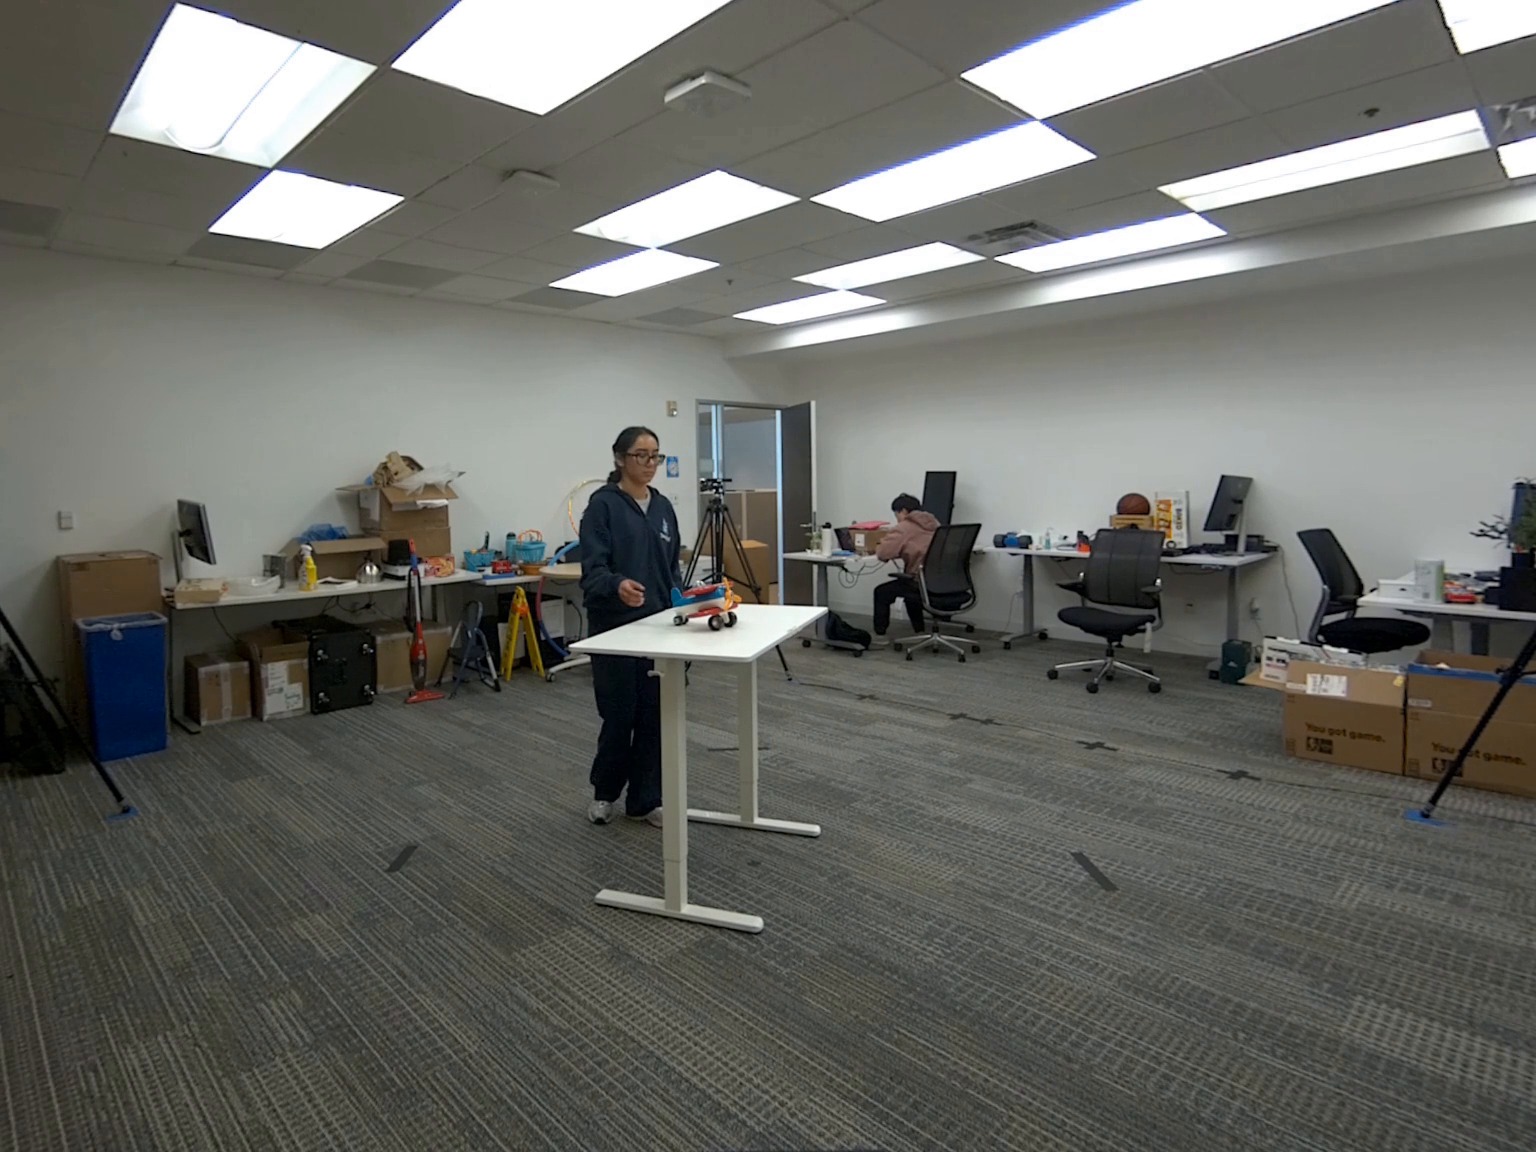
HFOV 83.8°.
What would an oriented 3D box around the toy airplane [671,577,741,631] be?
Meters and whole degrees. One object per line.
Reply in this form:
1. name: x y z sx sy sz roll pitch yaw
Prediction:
1. toy airplane: -0.230 0.106 2.974 0.260 0.156 0.251 0 5 2
